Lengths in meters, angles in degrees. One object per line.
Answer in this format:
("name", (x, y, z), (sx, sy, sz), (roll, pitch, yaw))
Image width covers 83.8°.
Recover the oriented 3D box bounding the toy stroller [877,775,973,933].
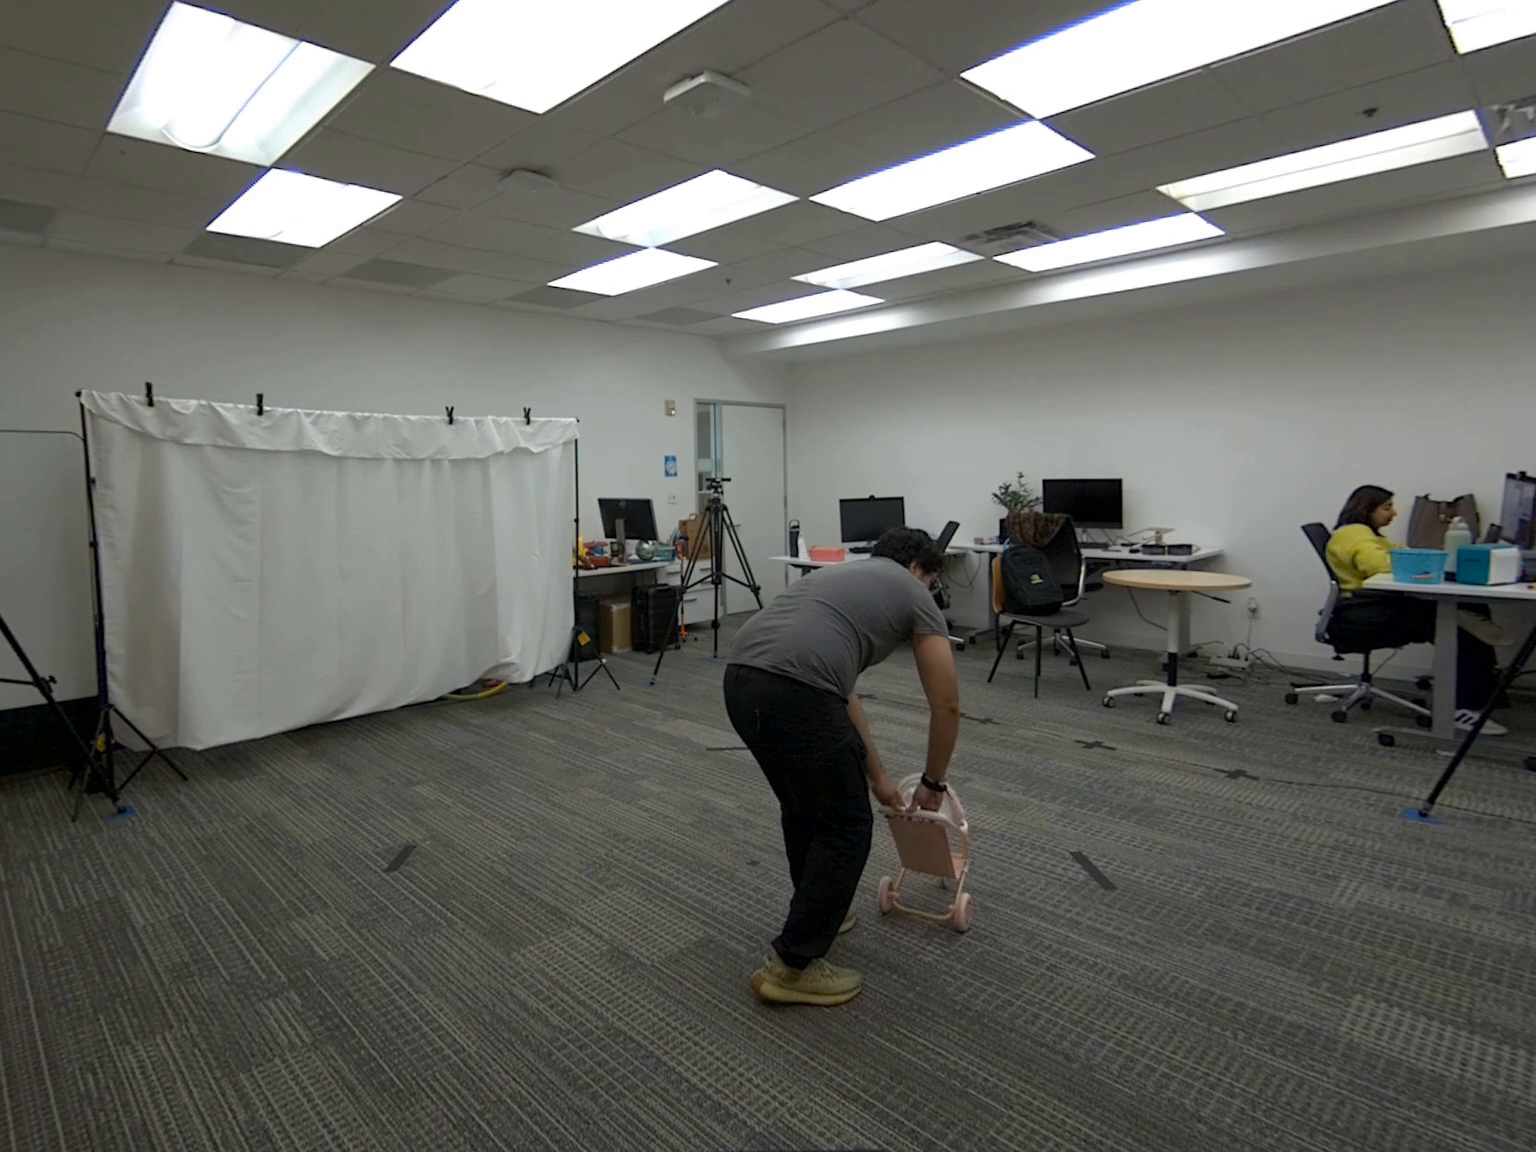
("toy stroller", (0.520, 0.855, 2.725), (0.289, 0.524, 0.339), (2, 23, 31))
